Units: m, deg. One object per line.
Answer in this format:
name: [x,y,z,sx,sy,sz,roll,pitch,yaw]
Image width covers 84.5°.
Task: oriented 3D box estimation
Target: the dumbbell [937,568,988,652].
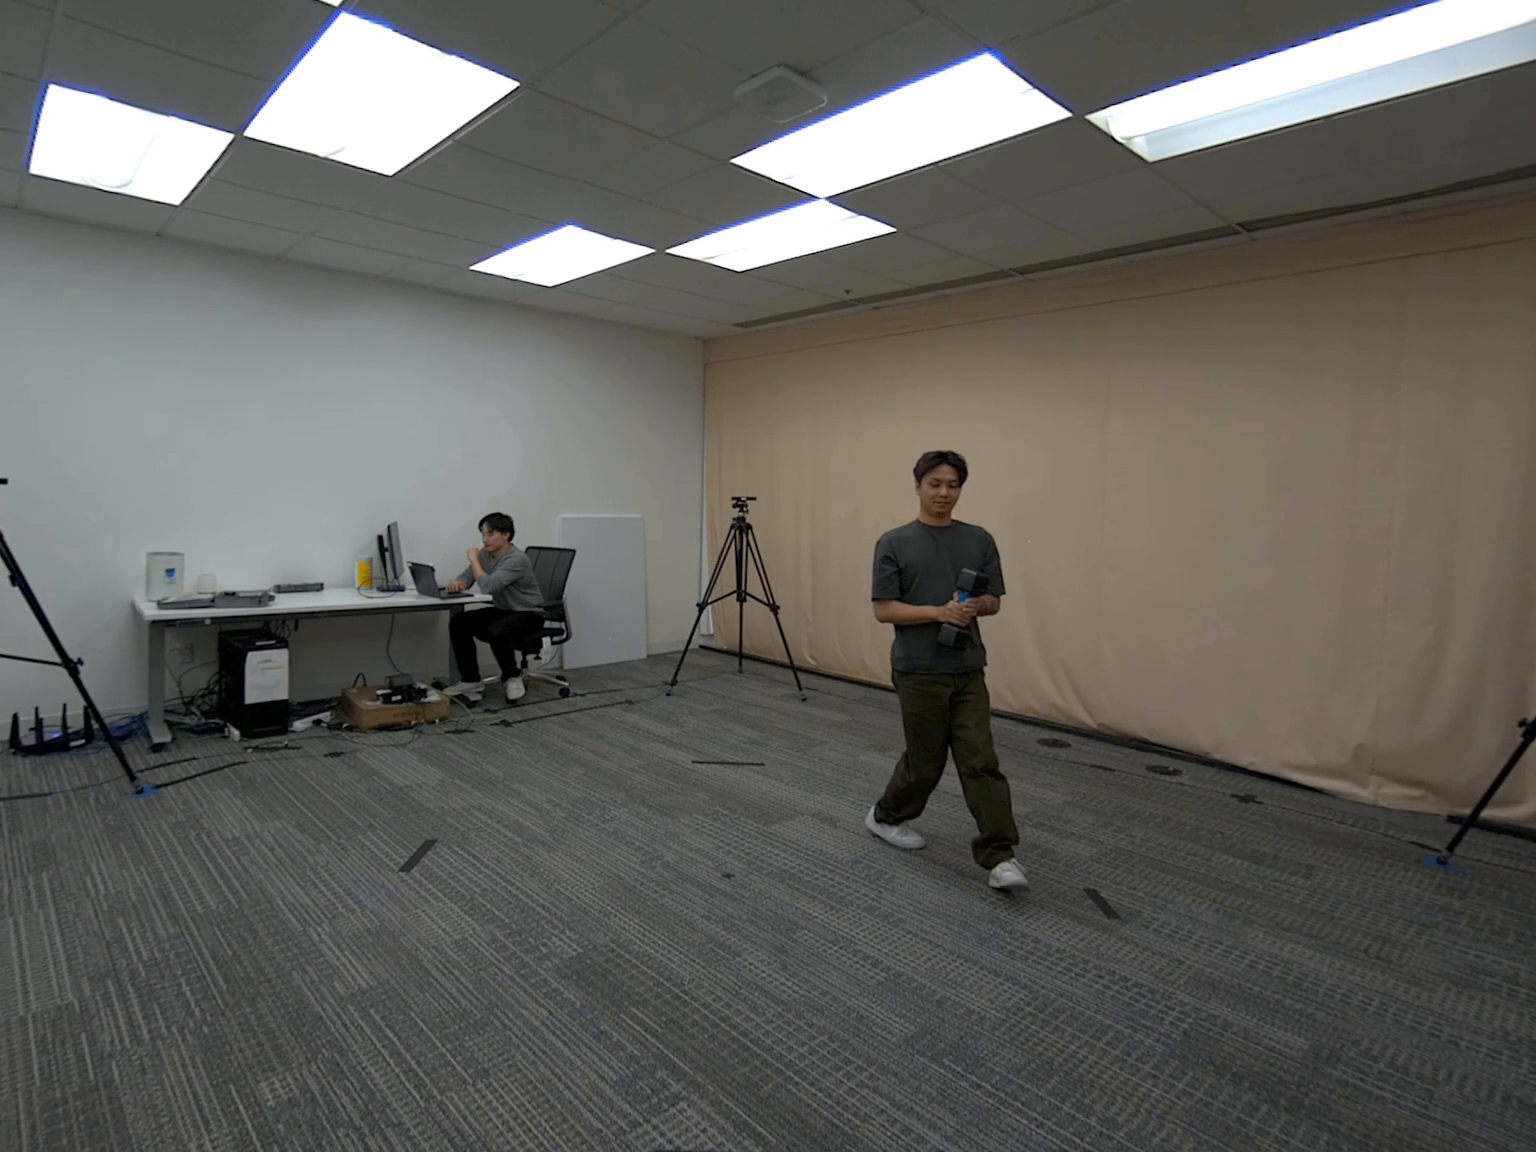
dumbbell: [0.700,0.120,3.082,0.126,0.292,0.106,22,8,33]
